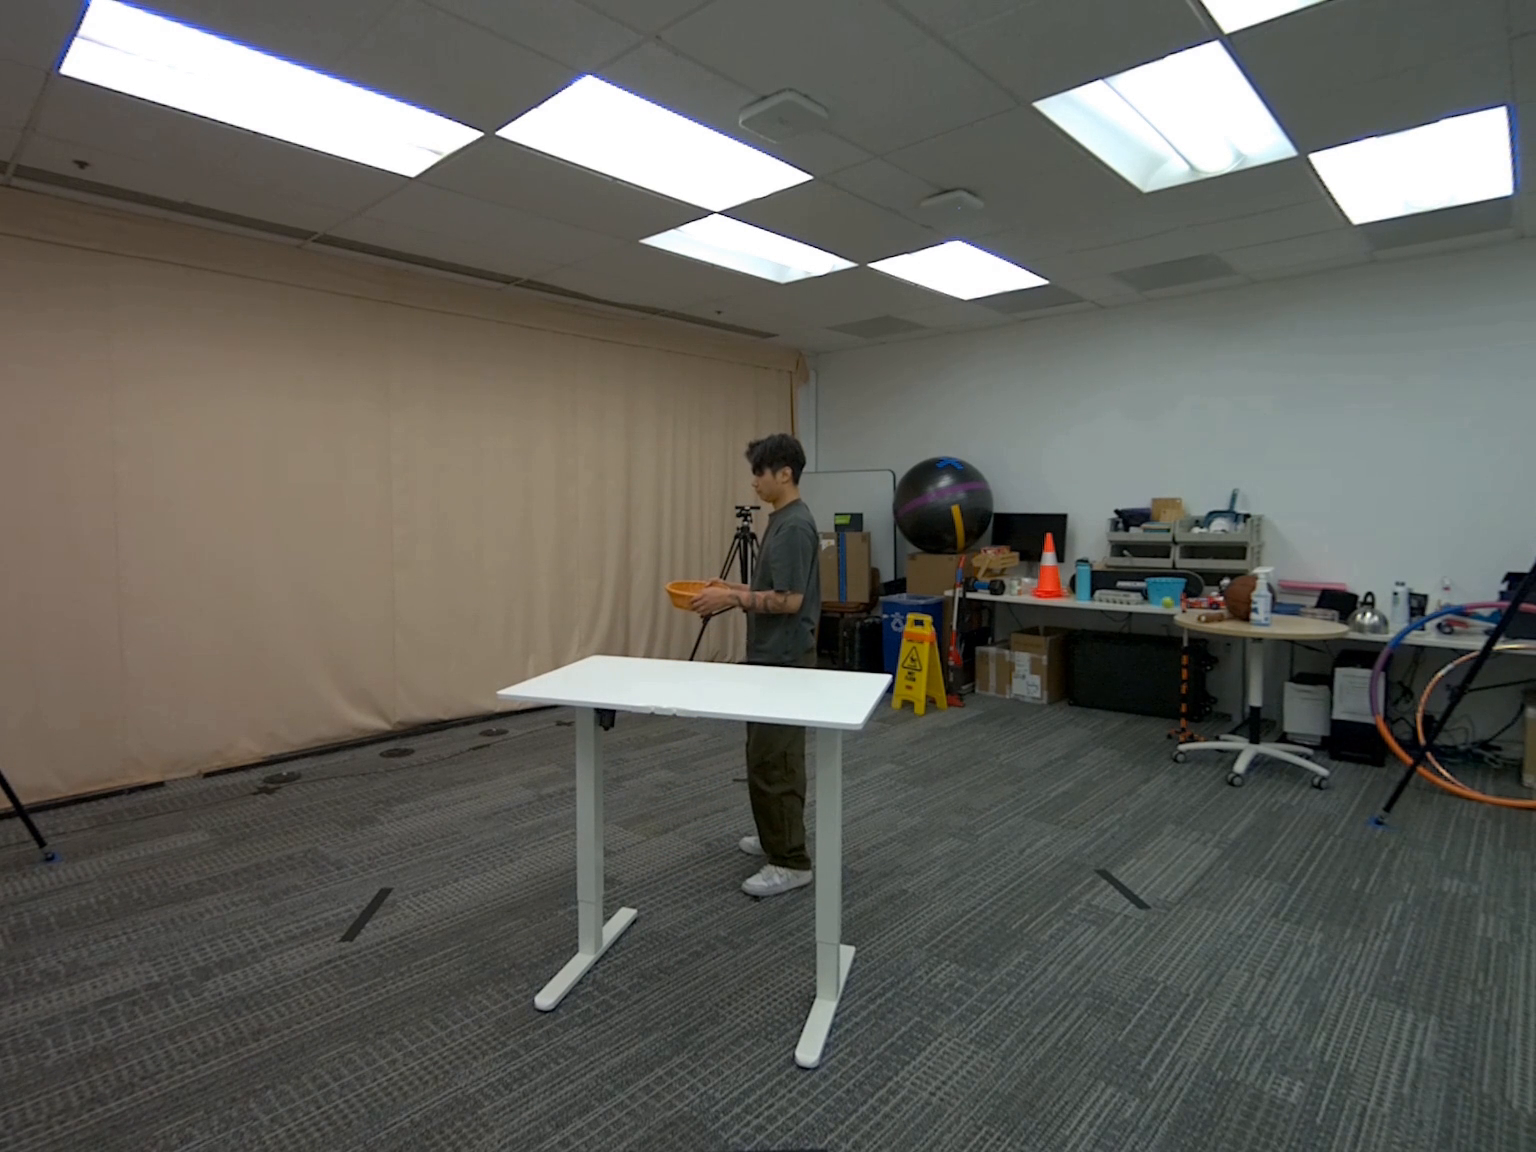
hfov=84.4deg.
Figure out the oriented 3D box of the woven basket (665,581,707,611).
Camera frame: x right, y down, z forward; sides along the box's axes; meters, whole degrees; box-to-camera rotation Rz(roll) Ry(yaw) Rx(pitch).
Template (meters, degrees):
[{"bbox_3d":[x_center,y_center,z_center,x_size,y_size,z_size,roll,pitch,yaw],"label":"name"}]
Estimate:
[{"bbox_3d":[-0.257,0.086,3.299,0.252,0.073,0.352,5,8,-1],"label":"woven basket"}]
